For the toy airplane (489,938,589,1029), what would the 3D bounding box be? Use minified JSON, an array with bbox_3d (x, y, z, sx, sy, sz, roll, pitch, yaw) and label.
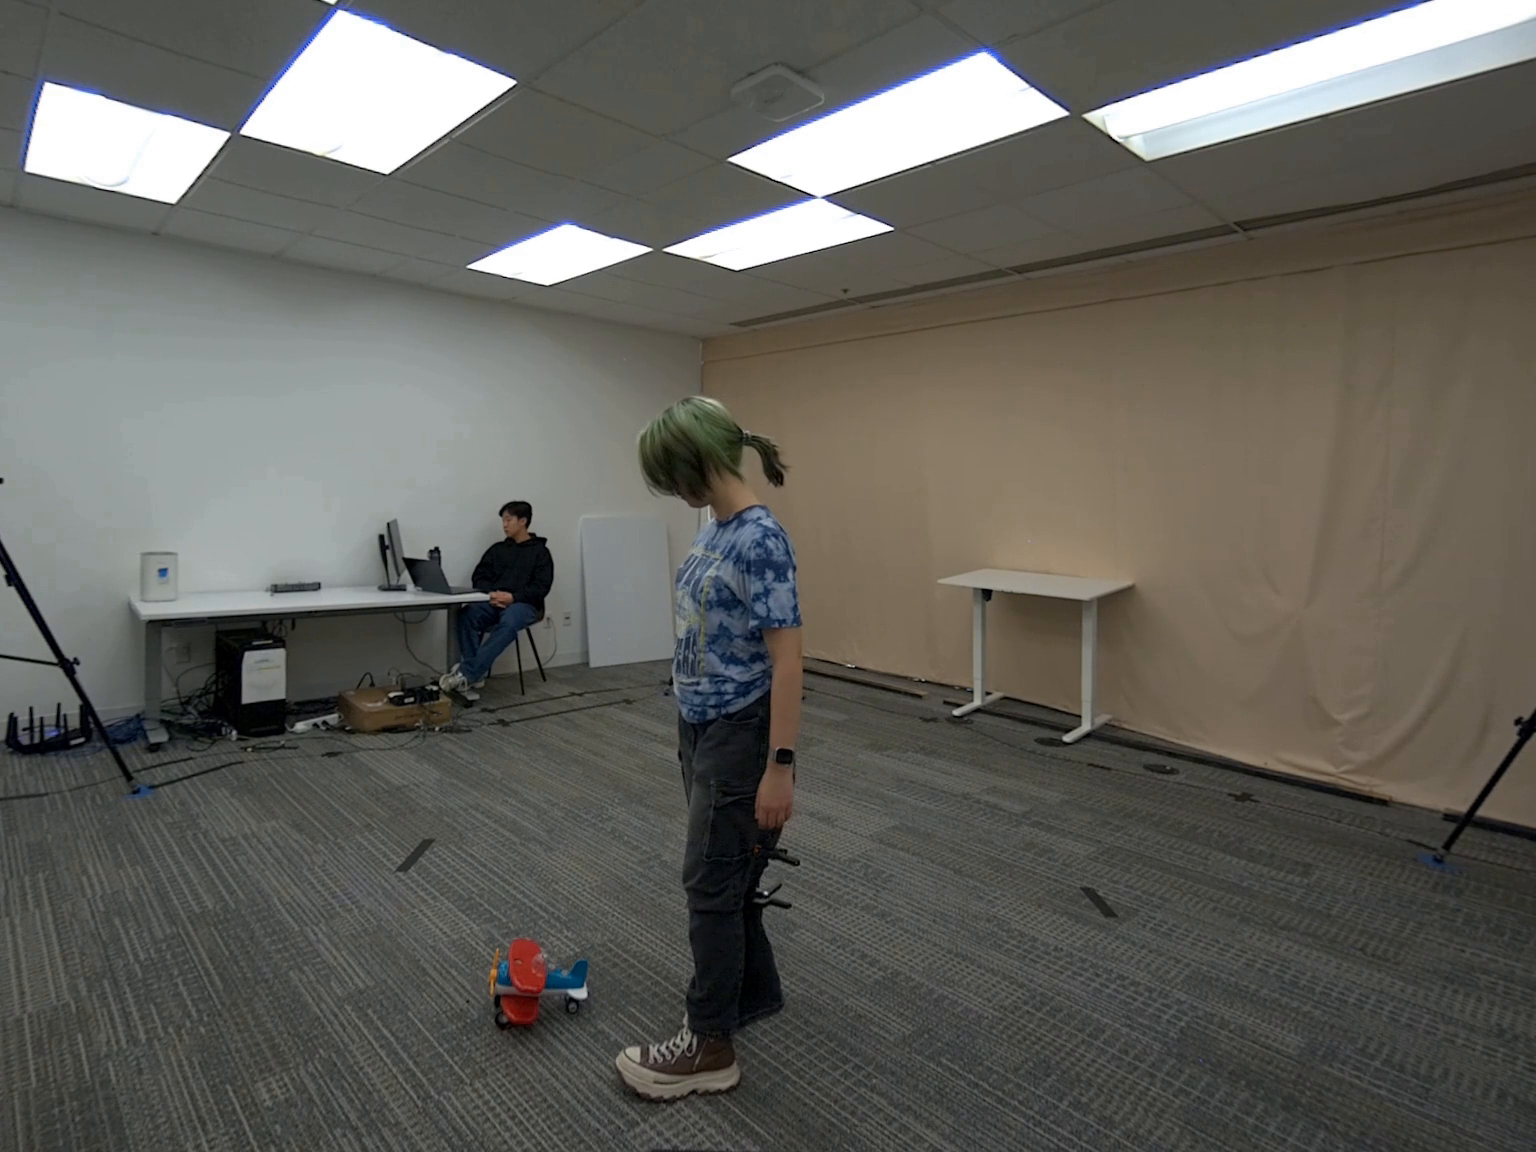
[{"bbox_3d":[-0.623,1.096,2.264,0.253,0.156,0.257,-5,7,-45],"label":"toy airplane"}]
